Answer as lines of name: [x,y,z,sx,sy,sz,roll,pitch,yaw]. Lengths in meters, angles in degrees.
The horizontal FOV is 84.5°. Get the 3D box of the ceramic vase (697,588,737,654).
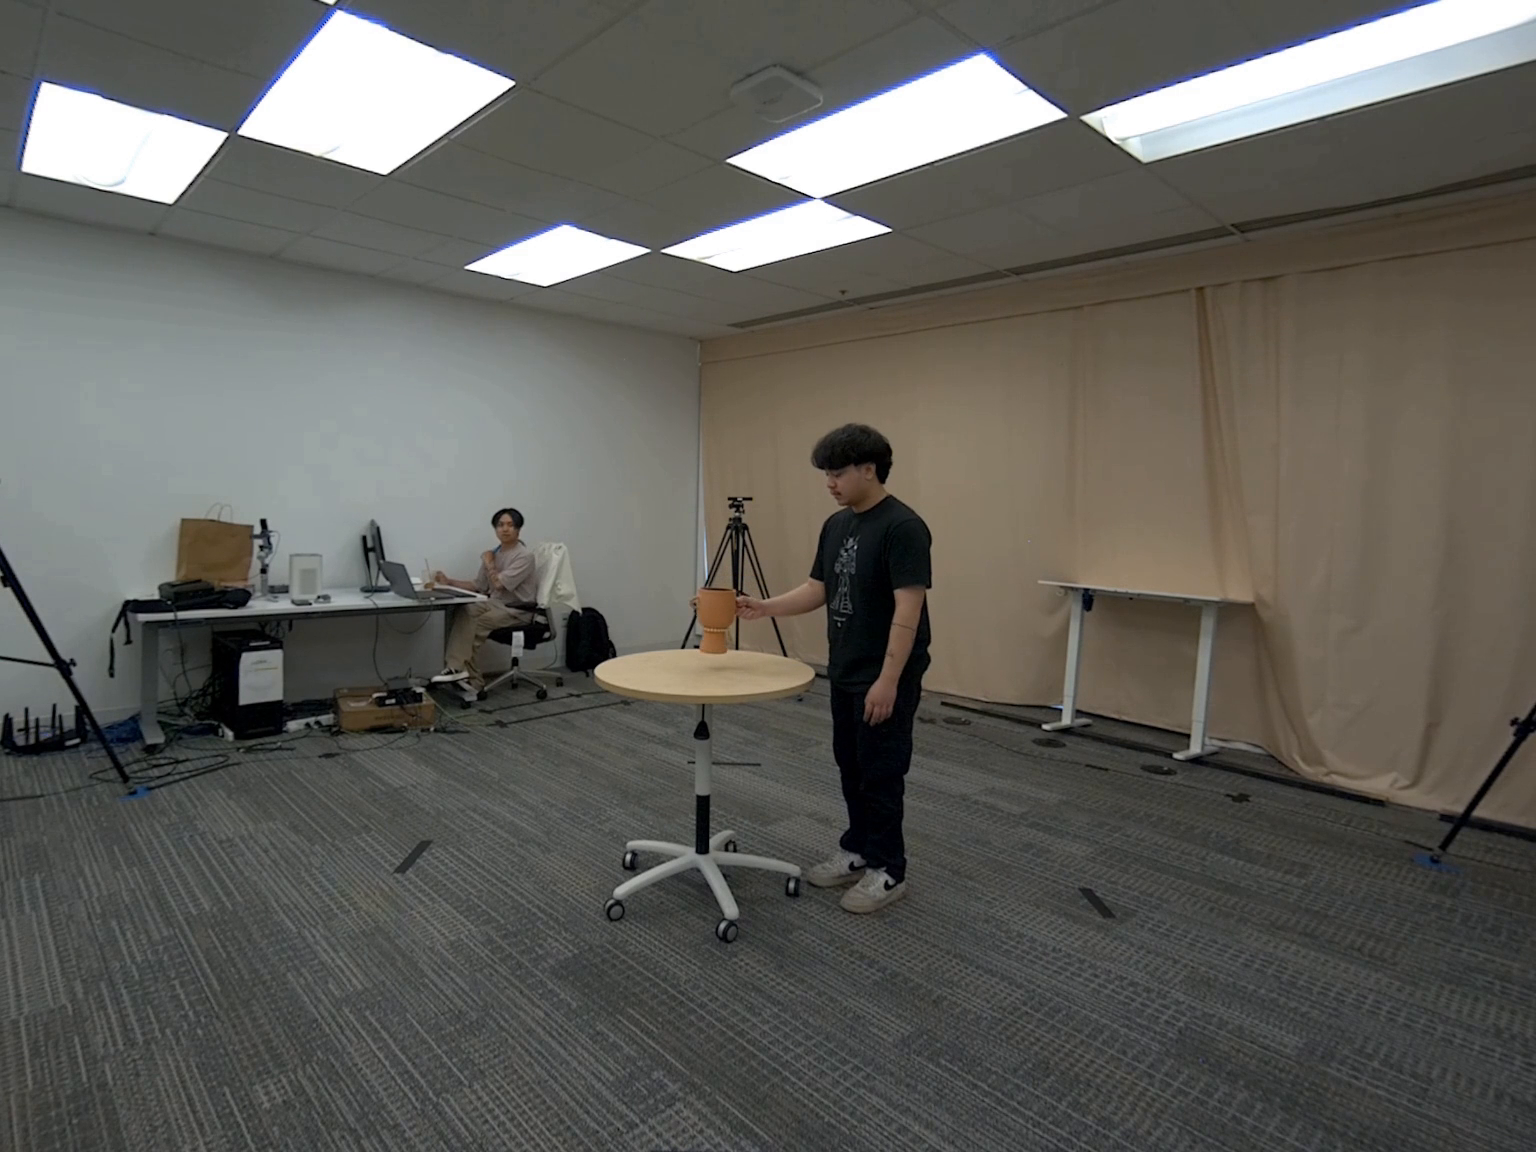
ceramic vase: [-0.186,0.154,2.940,0.161,0.219,0.133,5,3,16]
